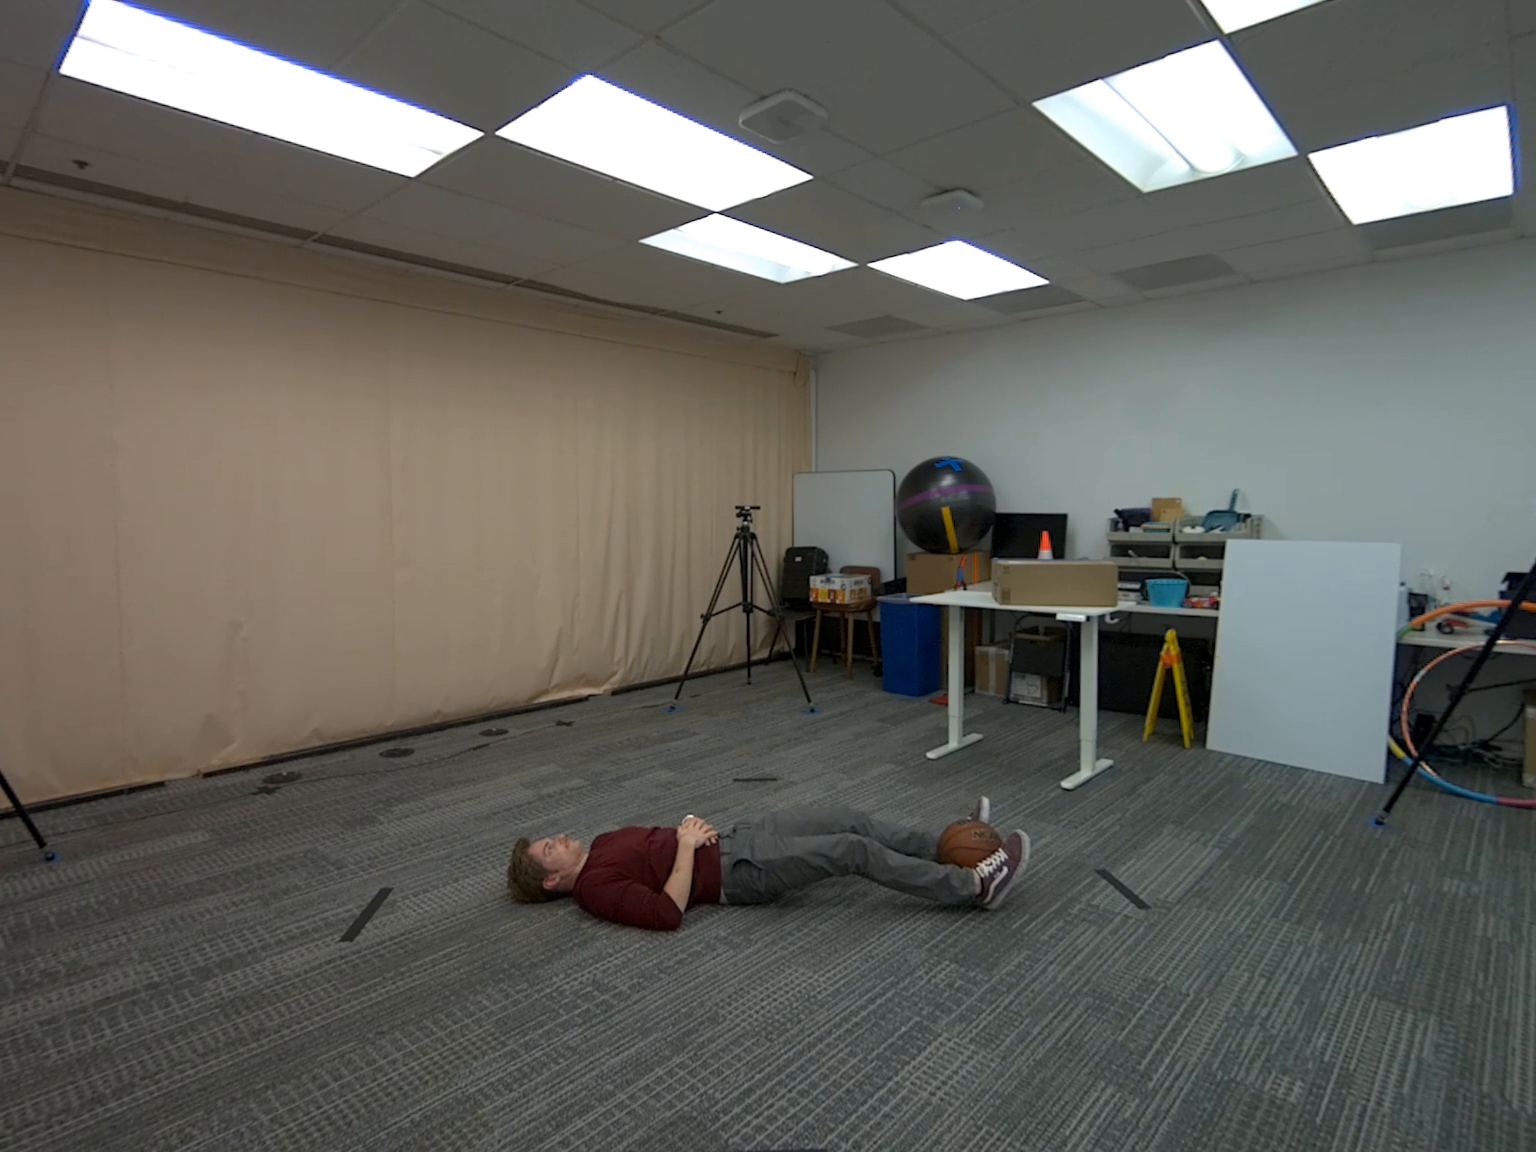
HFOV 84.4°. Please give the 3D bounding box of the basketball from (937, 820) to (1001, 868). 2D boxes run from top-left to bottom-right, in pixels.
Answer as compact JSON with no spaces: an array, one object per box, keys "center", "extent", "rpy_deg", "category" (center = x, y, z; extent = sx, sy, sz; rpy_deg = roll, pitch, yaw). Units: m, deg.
[{"center":[0.738,0.998,3.030],"extent":[0.235,0.235,0.237],"rpy_deg":[3,5,-2],"category":"basketball"}]
